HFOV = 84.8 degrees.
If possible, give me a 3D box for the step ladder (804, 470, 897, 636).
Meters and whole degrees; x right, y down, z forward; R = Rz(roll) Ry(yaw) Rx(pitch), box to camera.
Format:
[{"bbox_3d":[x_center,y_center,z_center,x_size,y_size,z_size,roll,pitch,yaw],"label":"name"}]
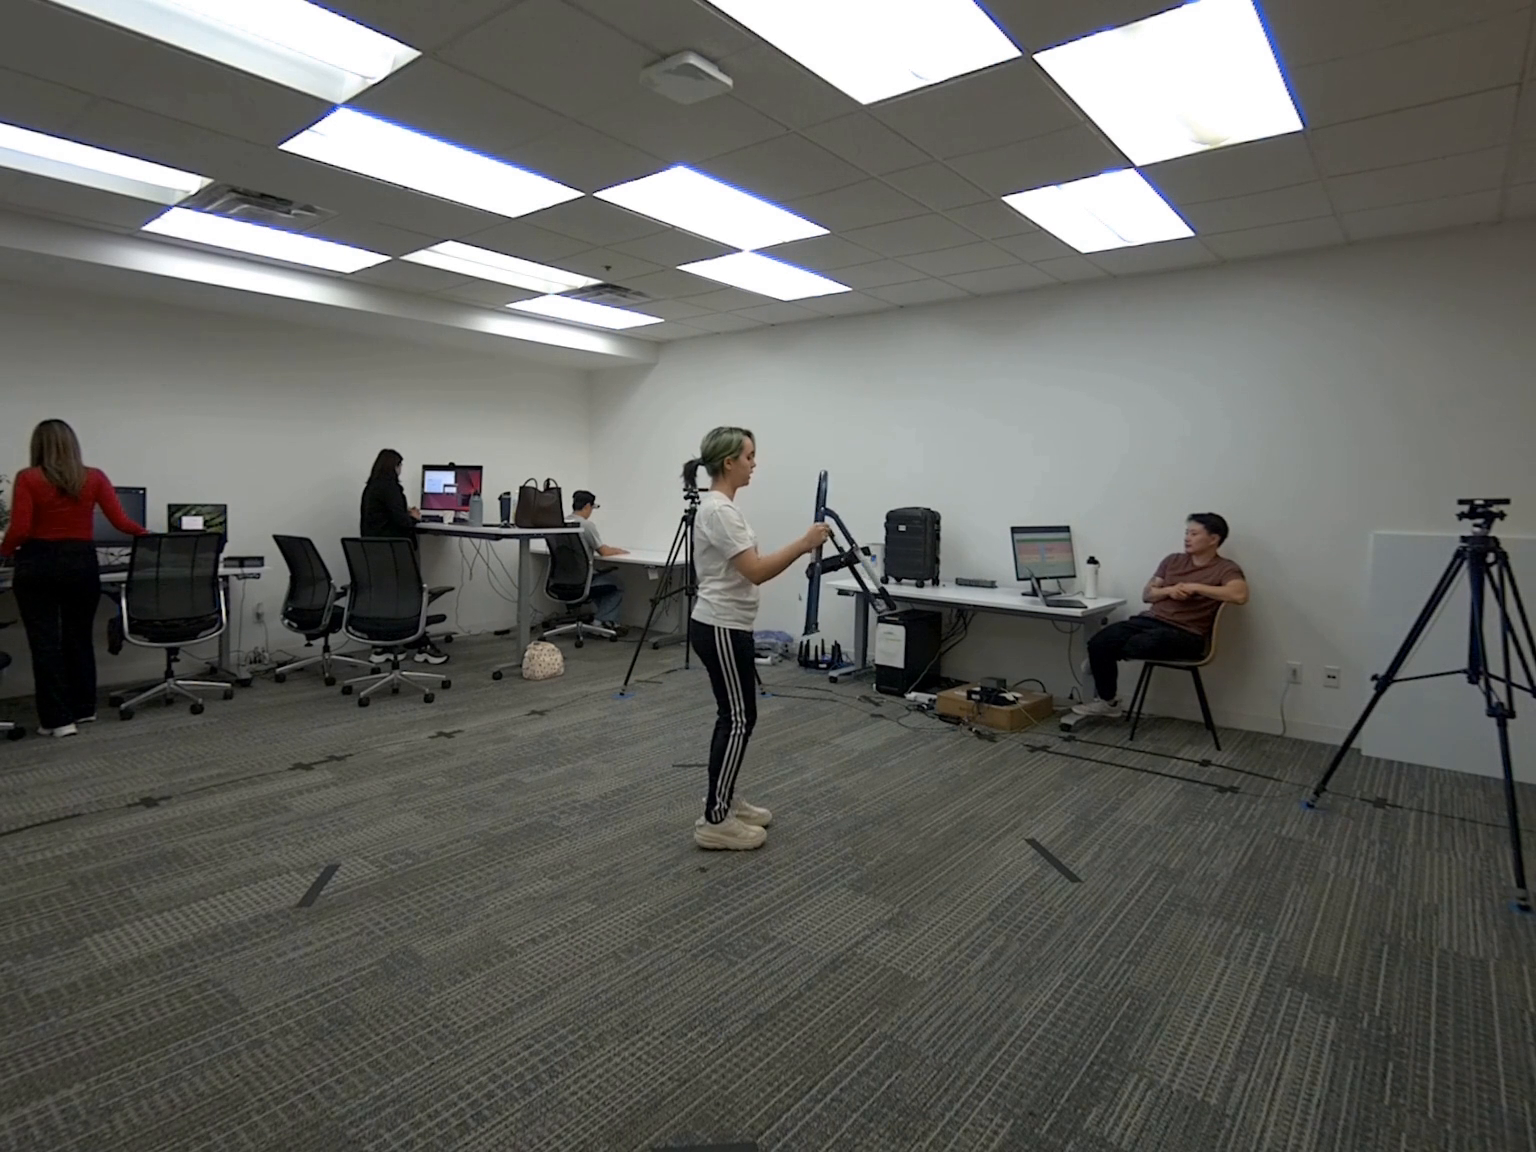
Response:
[{"bbox_3d":[0.224,-0.104,3.414,0.349,0.612,0.427,-14,-7,-1],"label":"step ladder"}]
